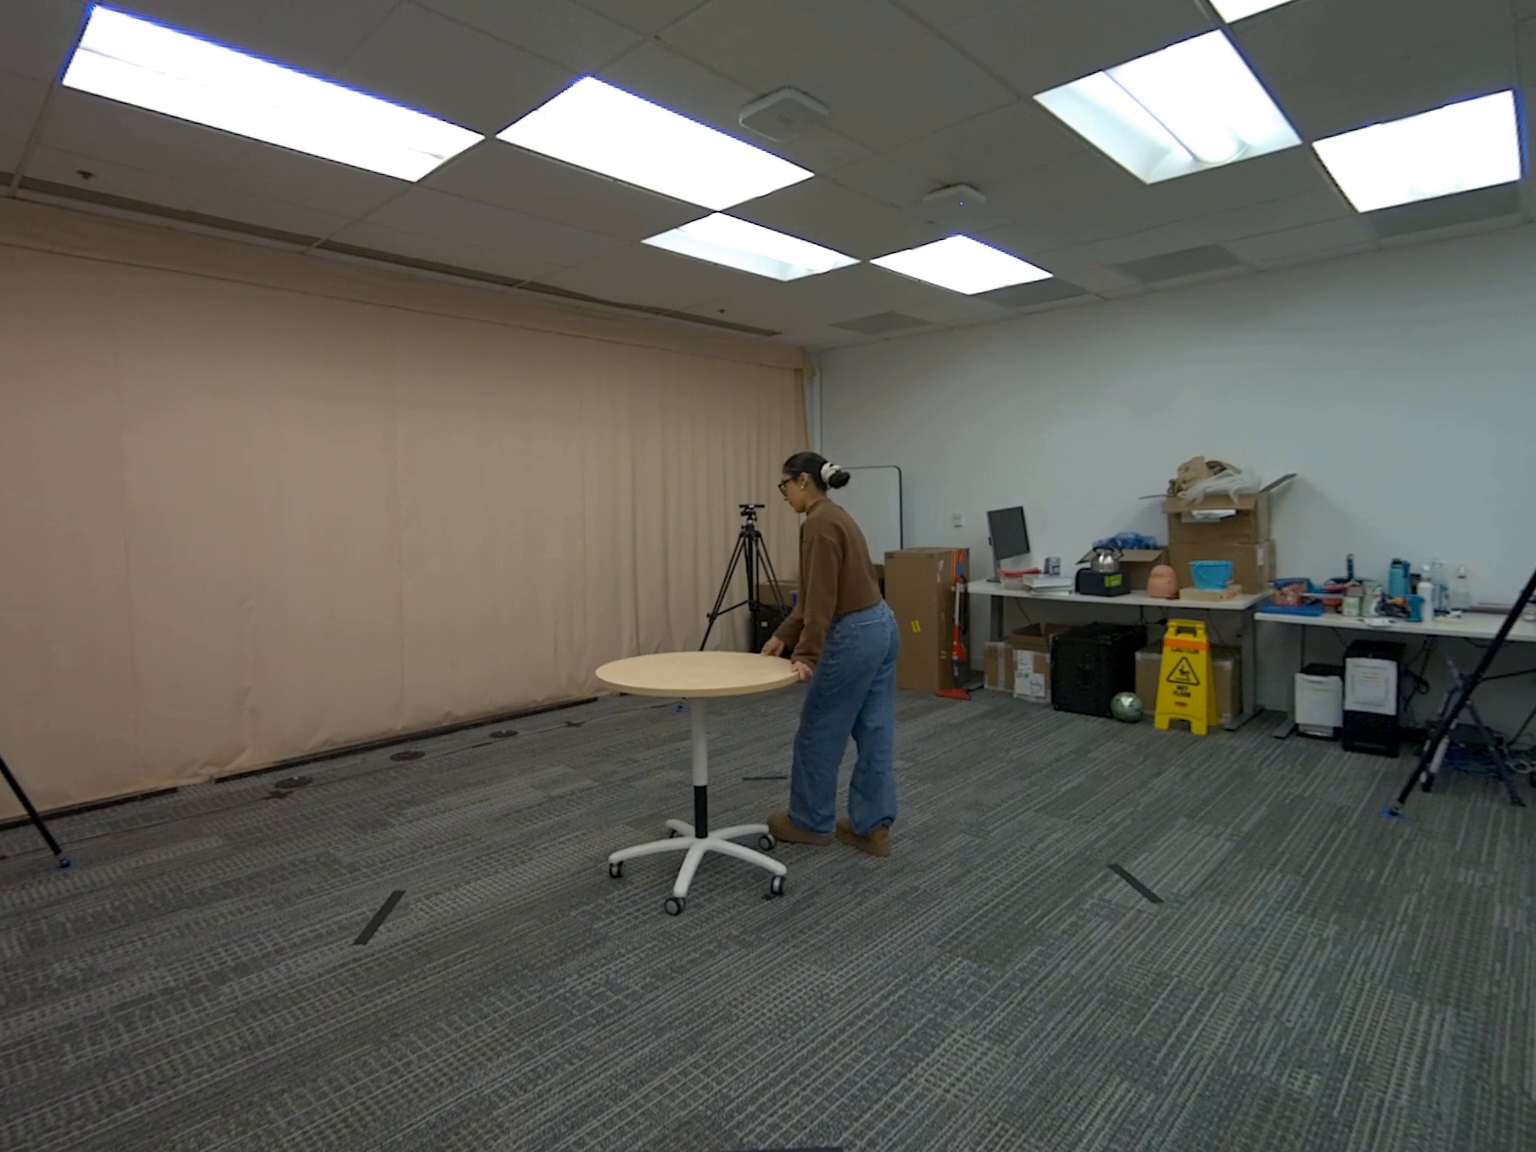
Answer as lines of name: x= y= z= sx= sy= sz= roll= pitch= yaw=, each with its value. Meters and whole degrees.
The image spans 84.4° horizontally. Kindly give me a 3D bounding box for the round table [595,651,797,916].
round table: x=-0.254 y=0.732 z=3.192 sx=0.784 sy=0.784 sz=0.788 roll=-1 pitch=4 yaw=-2
